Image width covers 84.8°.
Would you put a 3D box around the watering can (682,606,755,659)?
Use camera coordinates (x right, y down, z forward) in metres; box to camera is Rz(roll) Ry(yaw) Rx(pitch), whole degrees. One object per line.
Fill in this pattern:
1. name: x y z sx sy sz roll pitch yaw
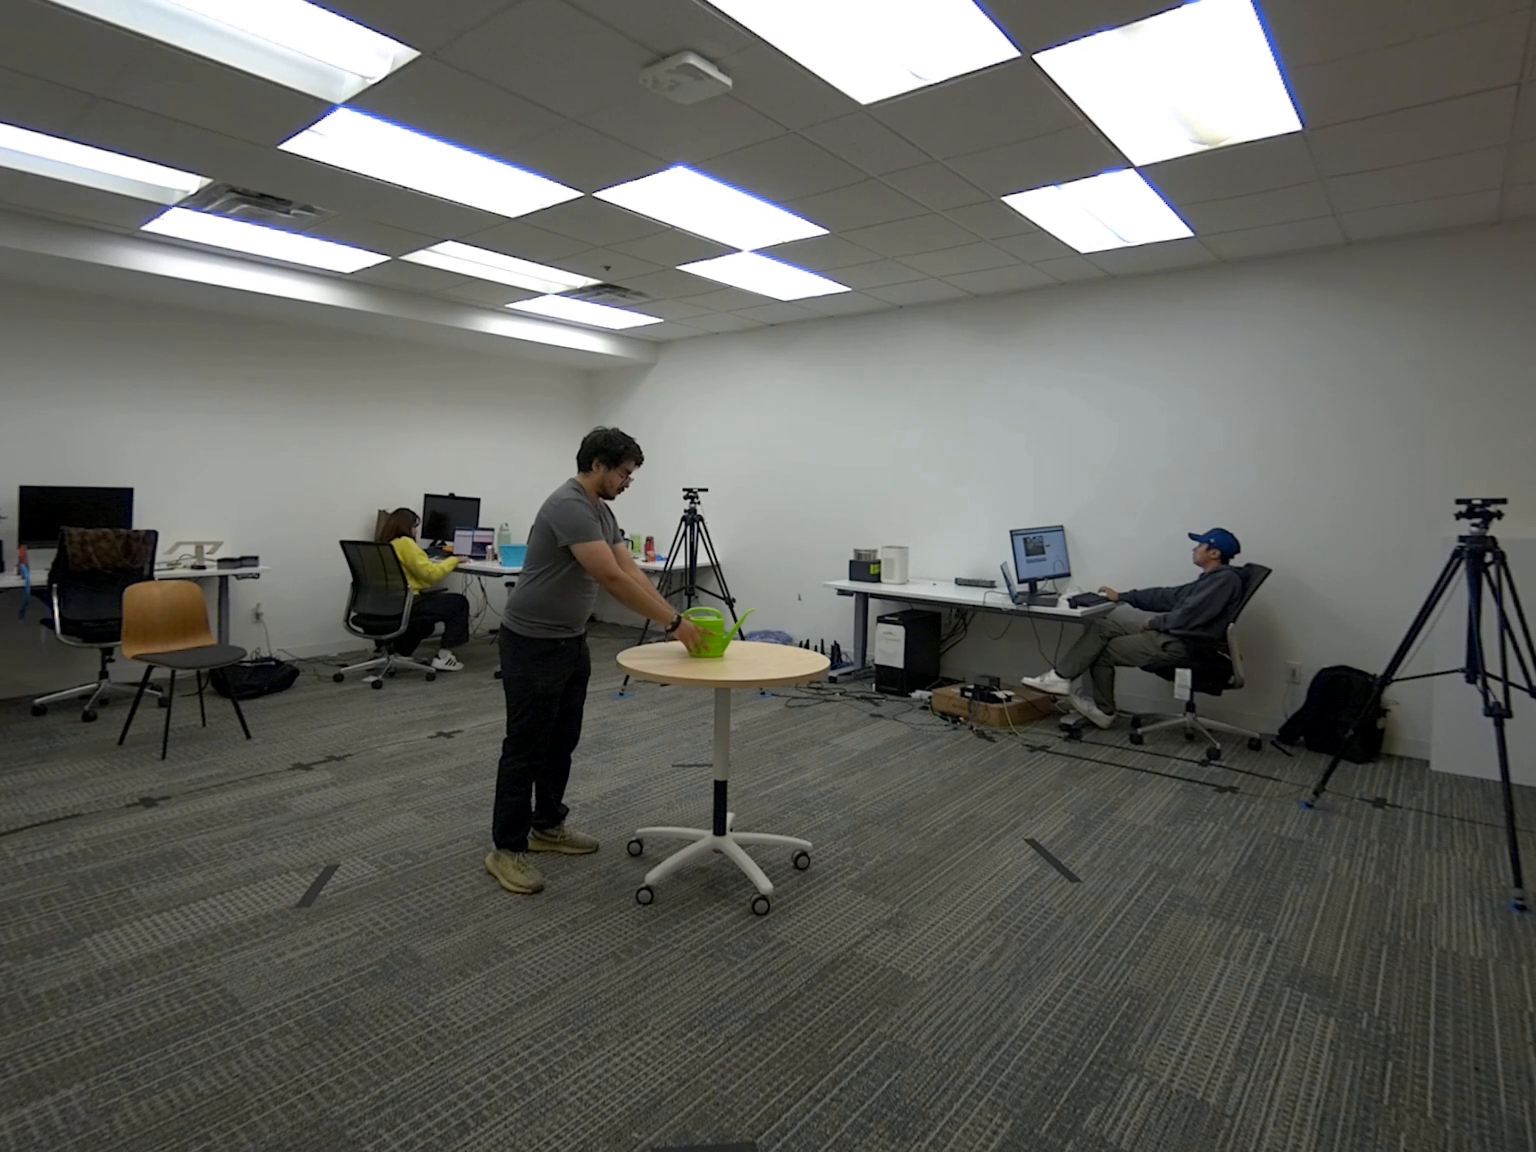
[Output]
1. watering can: -0.197 0.203 3.075 0.283 0.176 0.096 1 2 15
